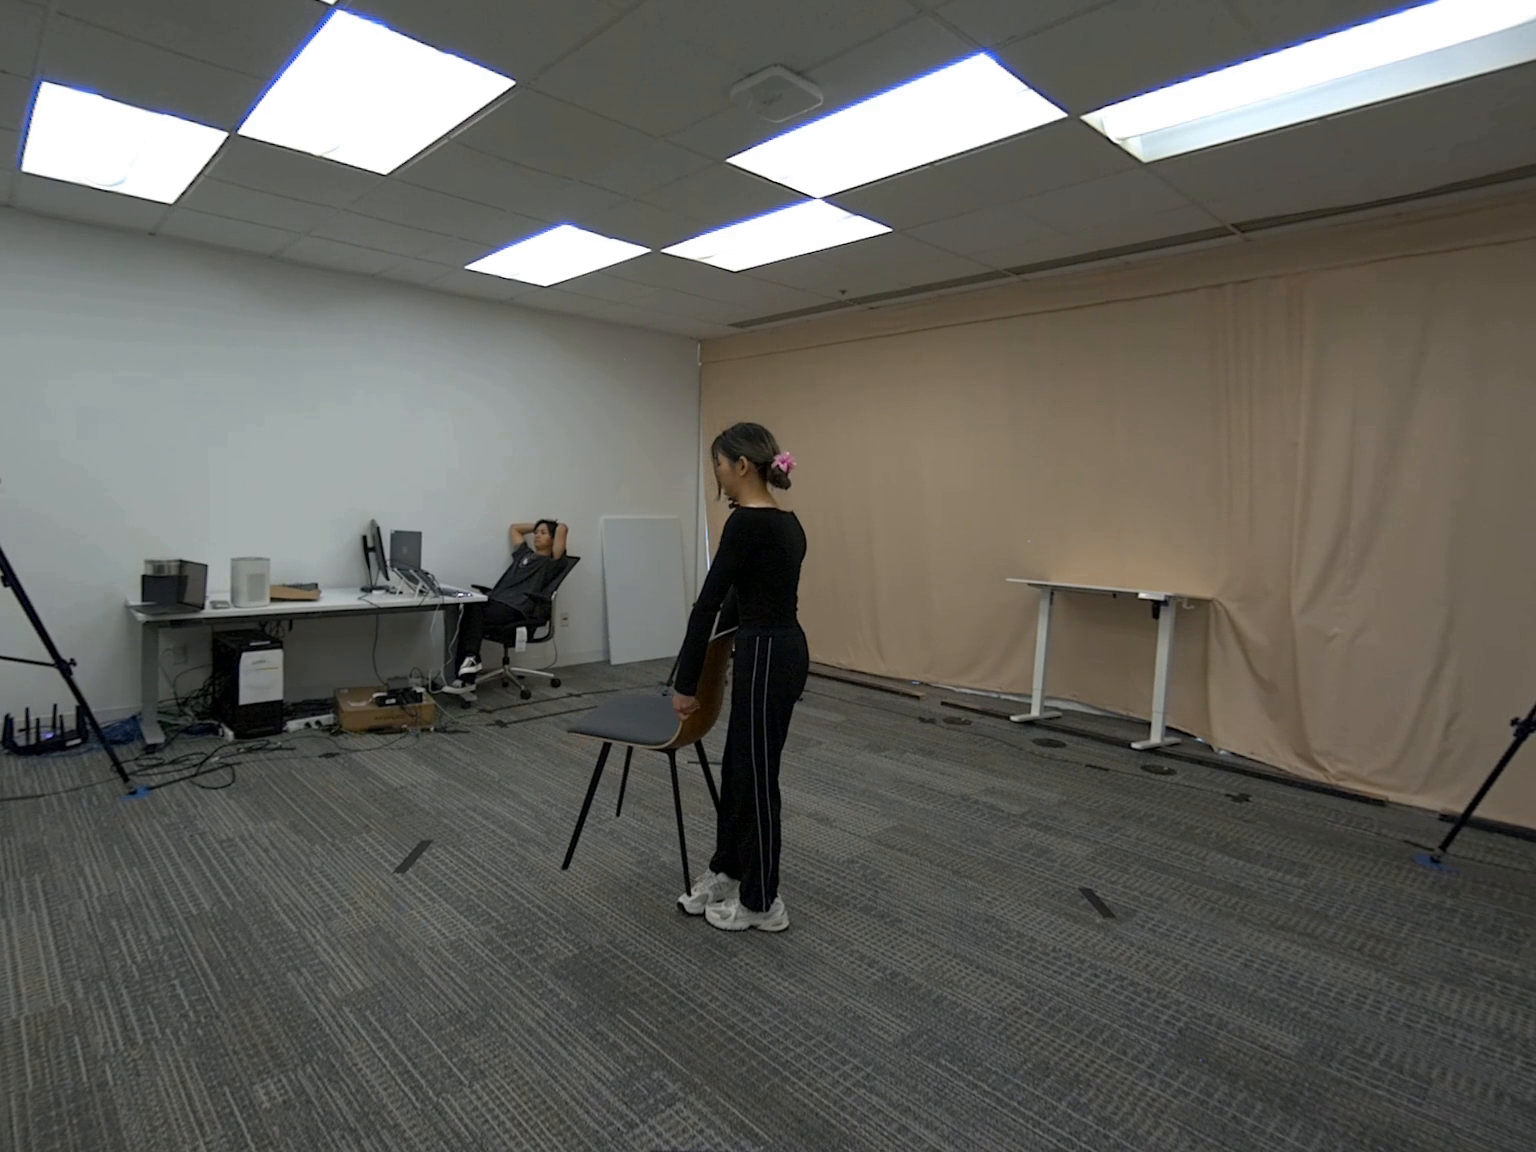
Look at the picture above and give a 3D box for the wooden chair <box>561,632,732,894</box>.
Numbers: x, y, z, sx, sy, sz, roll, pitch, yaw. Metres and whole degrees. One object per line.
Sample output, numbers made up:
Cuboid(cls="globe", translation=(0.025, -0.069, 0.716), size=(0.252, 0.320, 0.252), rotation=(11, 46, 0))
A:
Cuboid(cls="wooden chair", translation=(-0.404, 0.549, 2.897), size=(0.530, 0.872, 0.474), rotation=(9, 9, 14))
